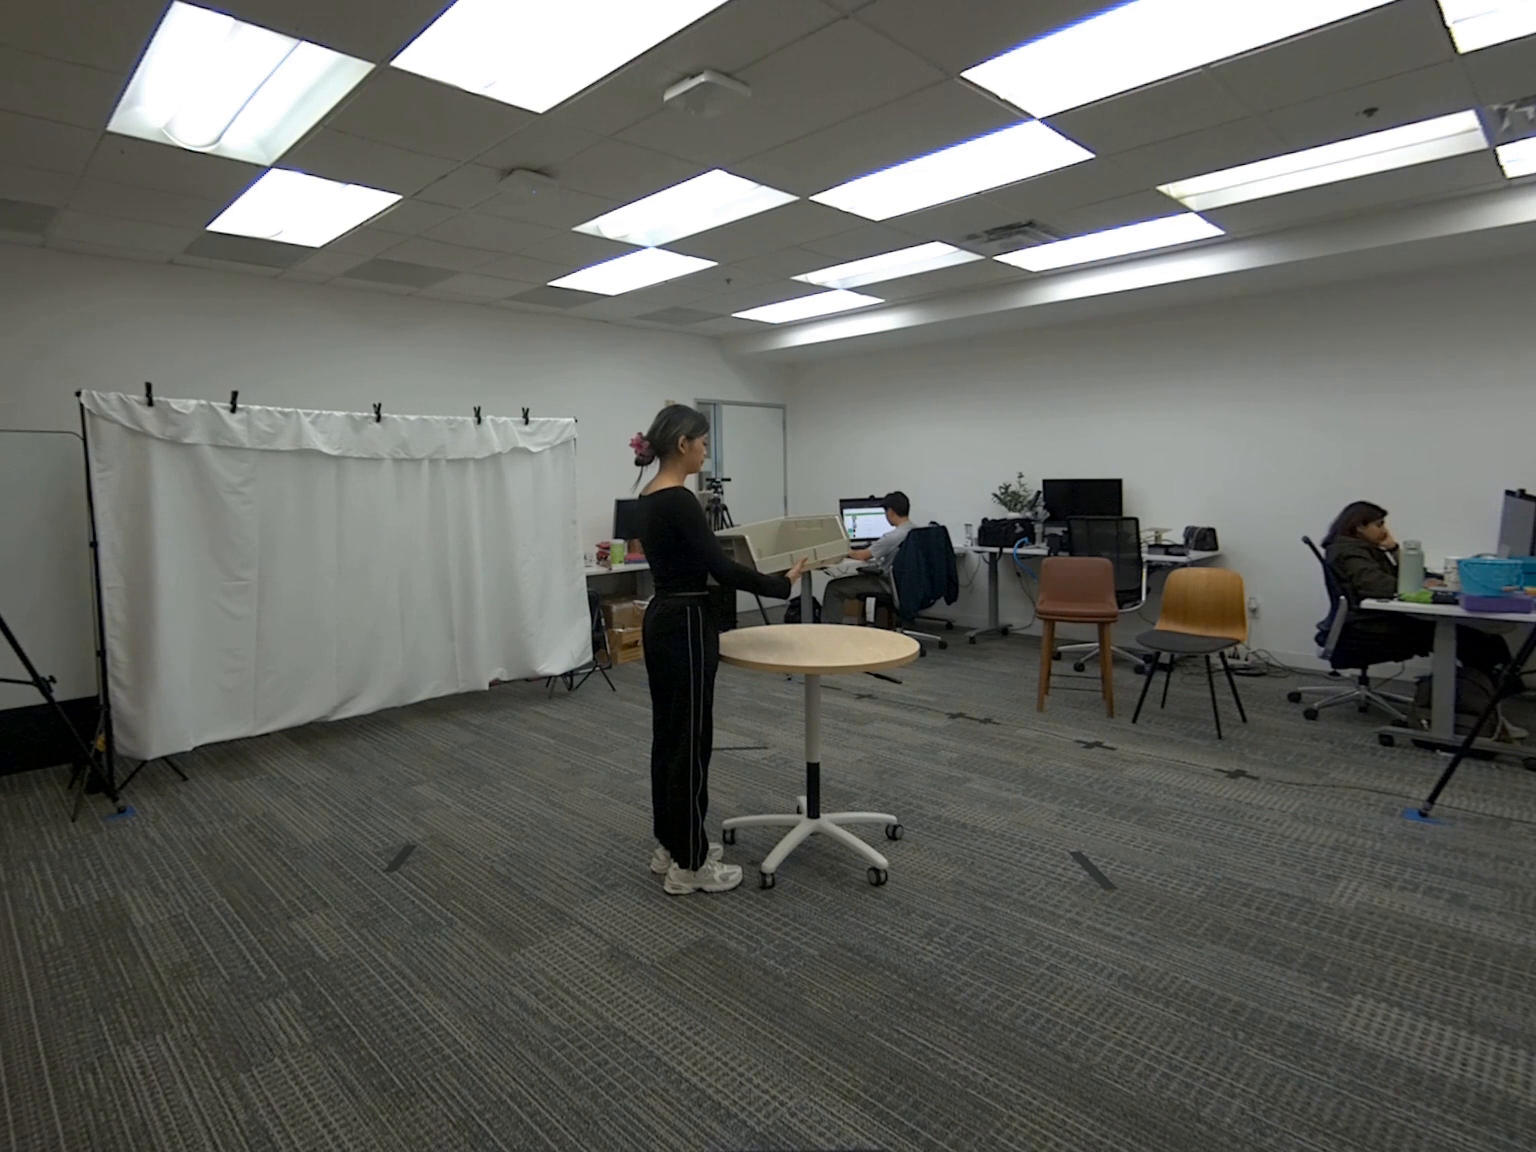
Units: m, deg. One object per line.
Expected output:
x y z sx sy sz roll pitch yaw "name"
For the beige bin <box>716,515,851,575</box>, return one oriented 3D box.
0.012 -0.095 3.084 0.414 0.188 0.387 -14 7 -33 "beige bin"
